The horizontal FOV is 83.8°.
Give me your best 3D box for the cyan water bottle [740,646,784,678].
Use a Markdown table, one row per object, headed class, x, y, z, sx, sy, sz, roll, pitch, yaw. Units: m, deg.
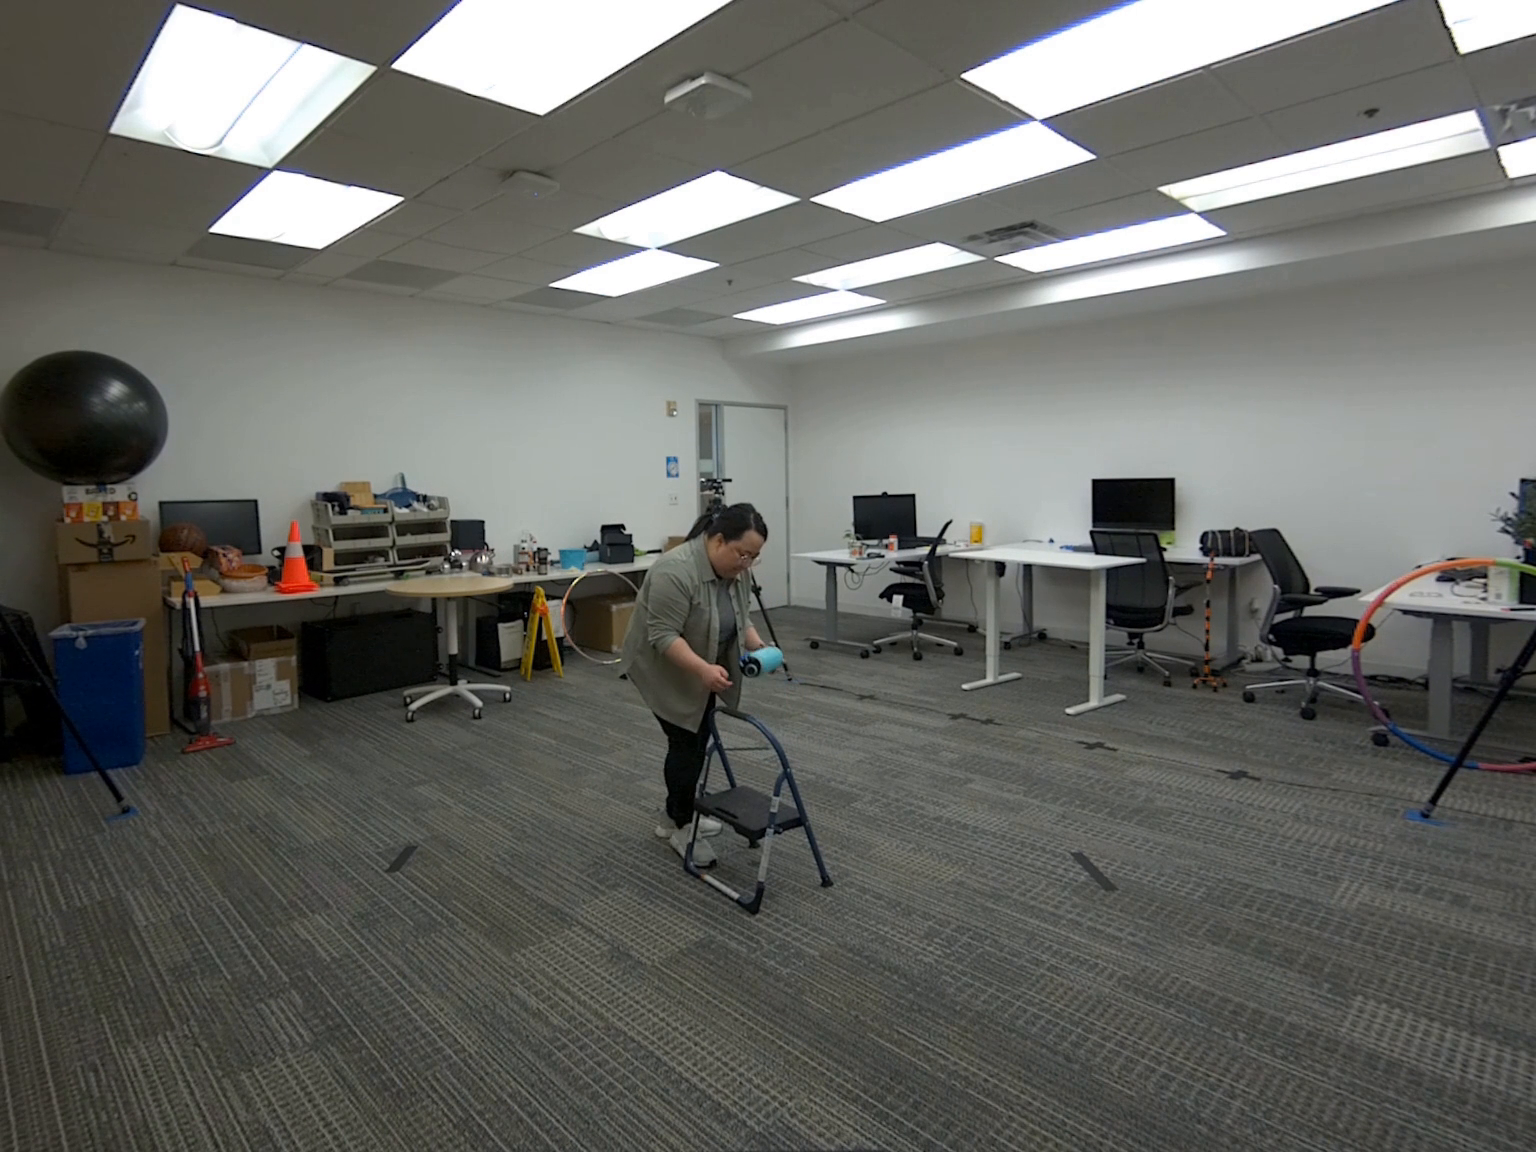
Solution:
| class | x | y | z | sx | sy | sz | roll | pitch | yaw |
| --- | --- | --- | --- | --- | --- | --- | --- | --- | --- |
| cyan water bottle | -0.042 | 0.334 | 3.127 | 0.094 | 0.092 | 0.278 | 1 | 2 | 18 |
